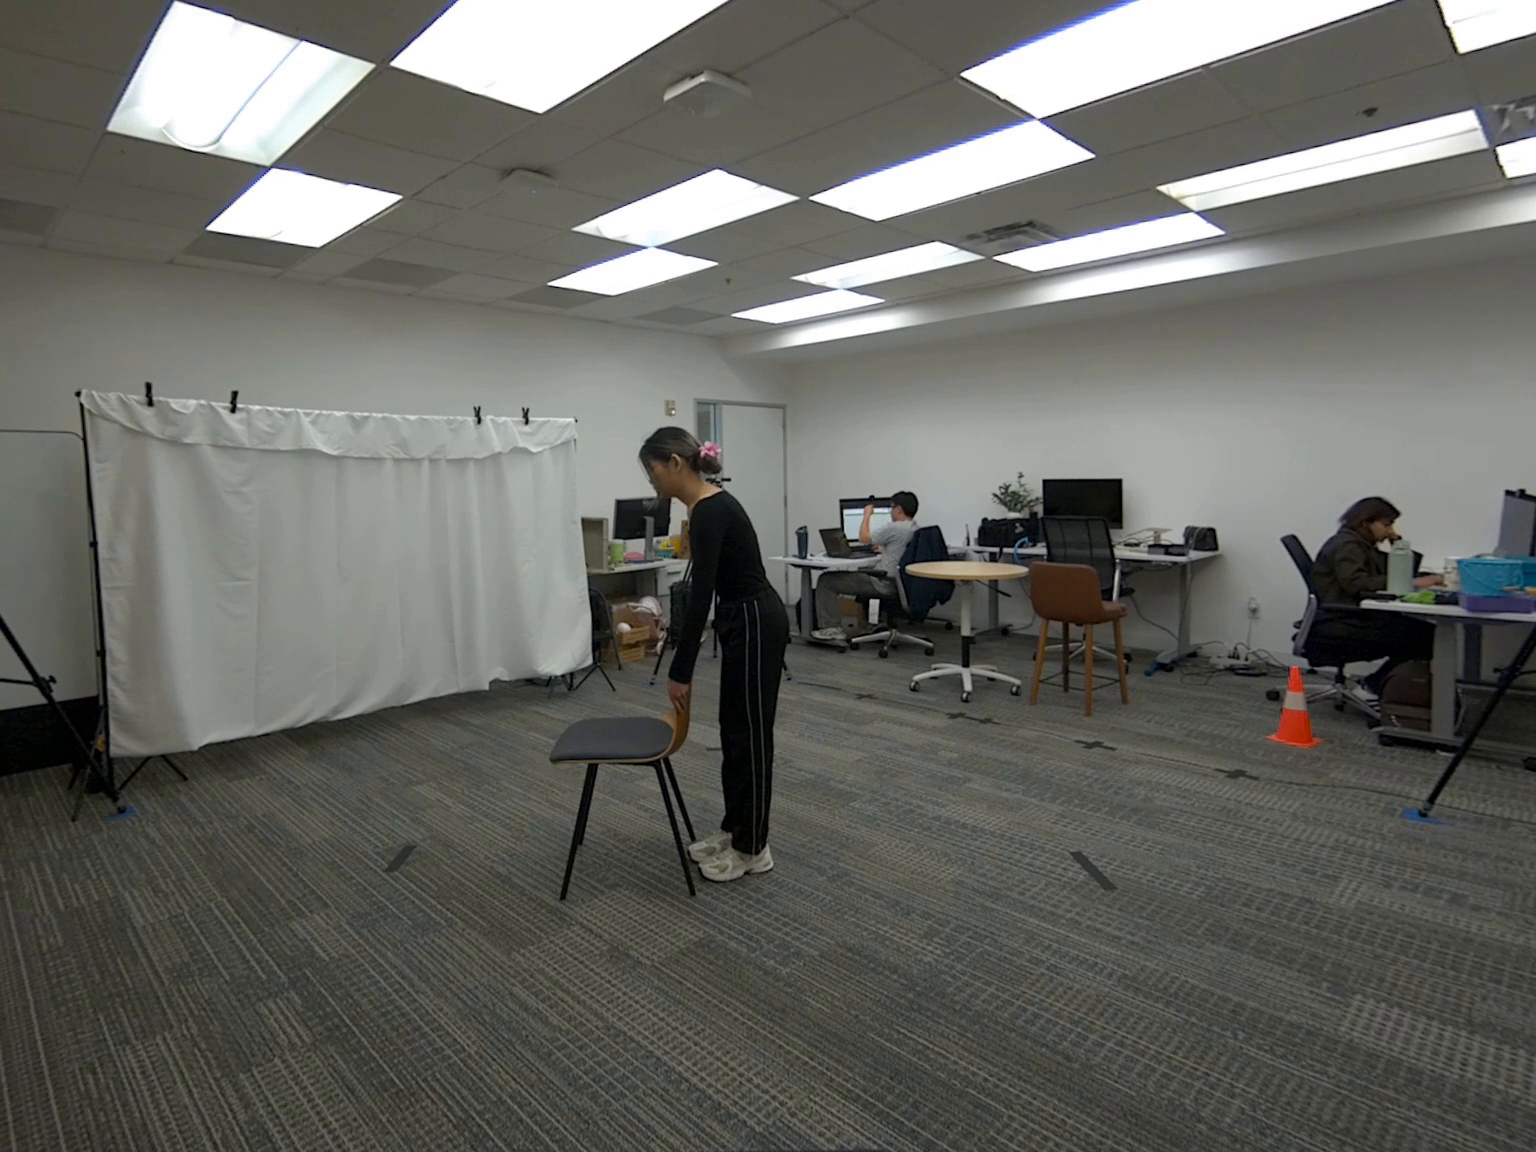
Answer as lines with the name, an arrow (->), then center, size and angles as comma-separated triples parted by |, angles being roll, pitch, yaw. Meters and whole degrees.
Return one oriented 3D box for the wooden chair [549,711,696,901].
wooden chair -> -0.502, 0.630, 3.040 | 0.521, 0.874, 0.482 | 3, 5, -4
